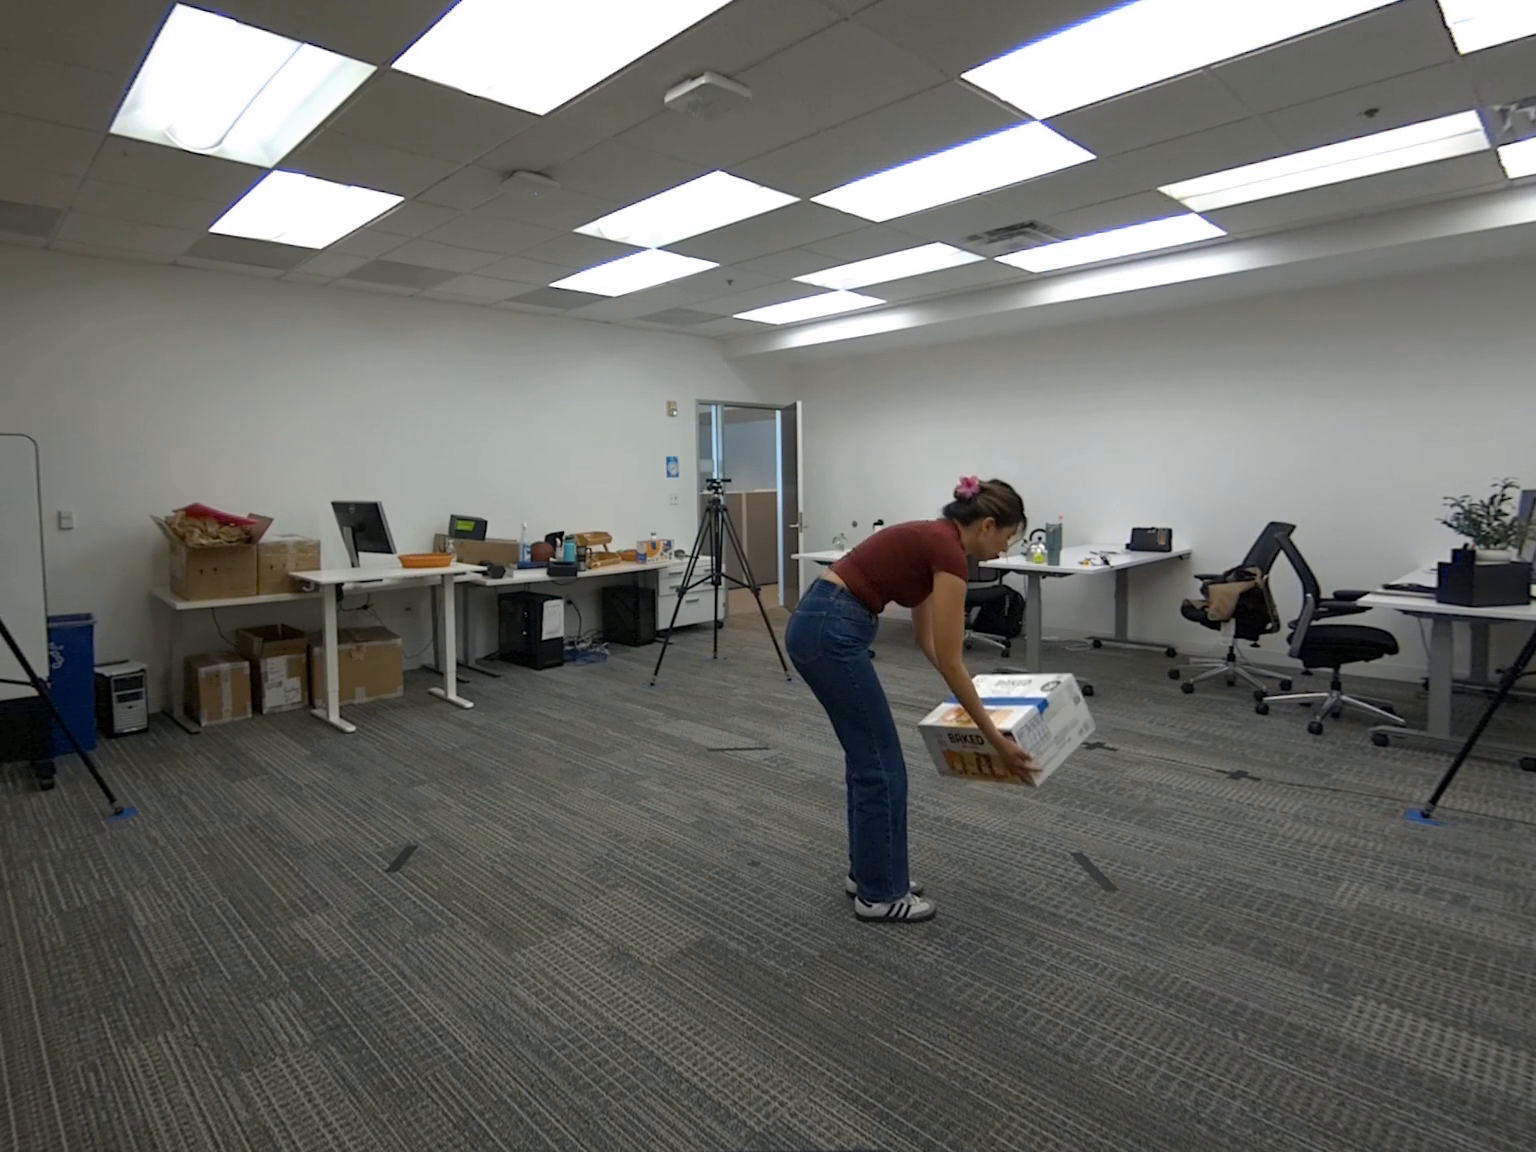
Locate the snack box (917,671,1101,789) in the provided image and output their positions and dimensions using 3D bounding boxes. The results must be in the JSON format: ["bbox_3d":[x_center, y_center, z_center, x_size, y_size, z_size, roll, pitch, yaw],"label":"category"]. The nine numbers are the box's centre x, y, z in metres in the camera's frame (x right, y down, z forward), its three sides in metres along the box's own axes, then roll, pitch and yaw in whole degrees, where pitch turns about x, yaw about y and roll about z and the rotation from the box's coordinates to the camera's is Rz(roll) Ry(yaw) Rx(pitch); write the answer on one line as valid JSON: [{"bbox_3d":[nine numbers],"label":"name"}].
[{"bbox_3d":[0.777,0.488,2.799,0.337,0.204,0.413,-30,10,-32],"label":"snack box"}]
